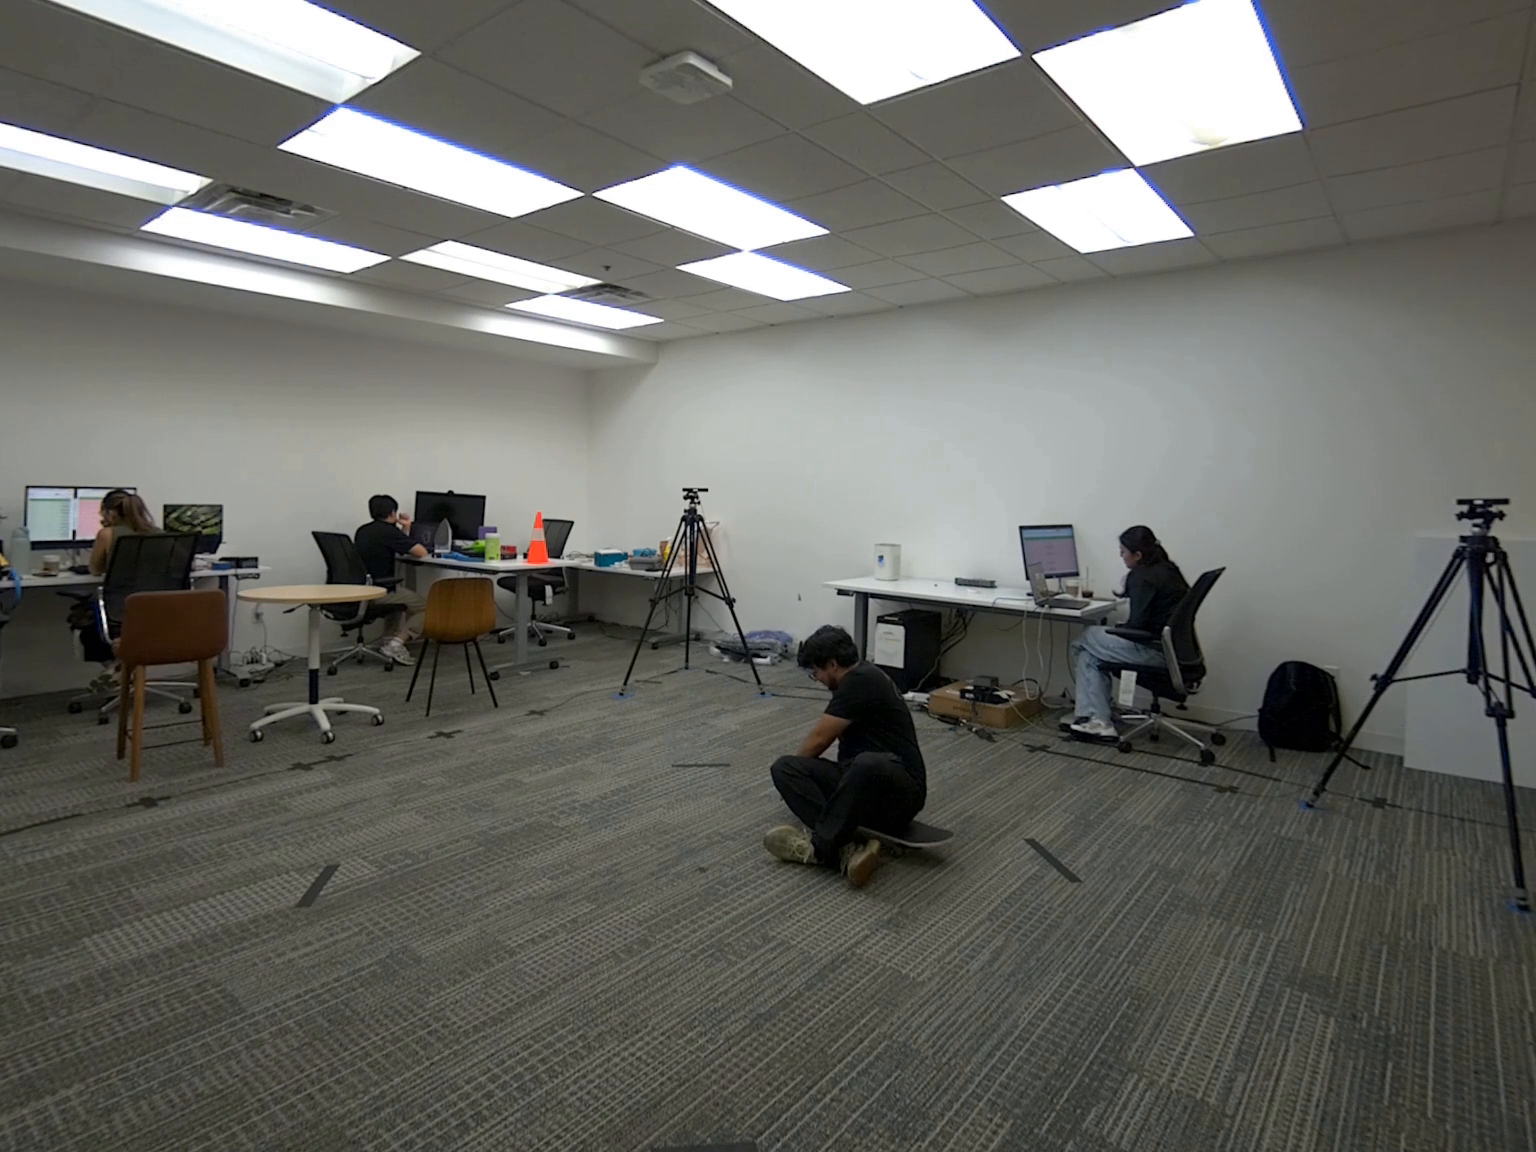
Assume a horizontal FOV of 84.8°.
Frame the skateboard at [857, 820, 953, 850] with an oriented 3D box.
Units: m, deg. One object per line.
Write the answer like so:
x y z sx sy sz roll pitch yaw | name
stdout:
0.371 0.990 3.445 0.188 0.110 0.813 -5 9 -44 | skateboard
